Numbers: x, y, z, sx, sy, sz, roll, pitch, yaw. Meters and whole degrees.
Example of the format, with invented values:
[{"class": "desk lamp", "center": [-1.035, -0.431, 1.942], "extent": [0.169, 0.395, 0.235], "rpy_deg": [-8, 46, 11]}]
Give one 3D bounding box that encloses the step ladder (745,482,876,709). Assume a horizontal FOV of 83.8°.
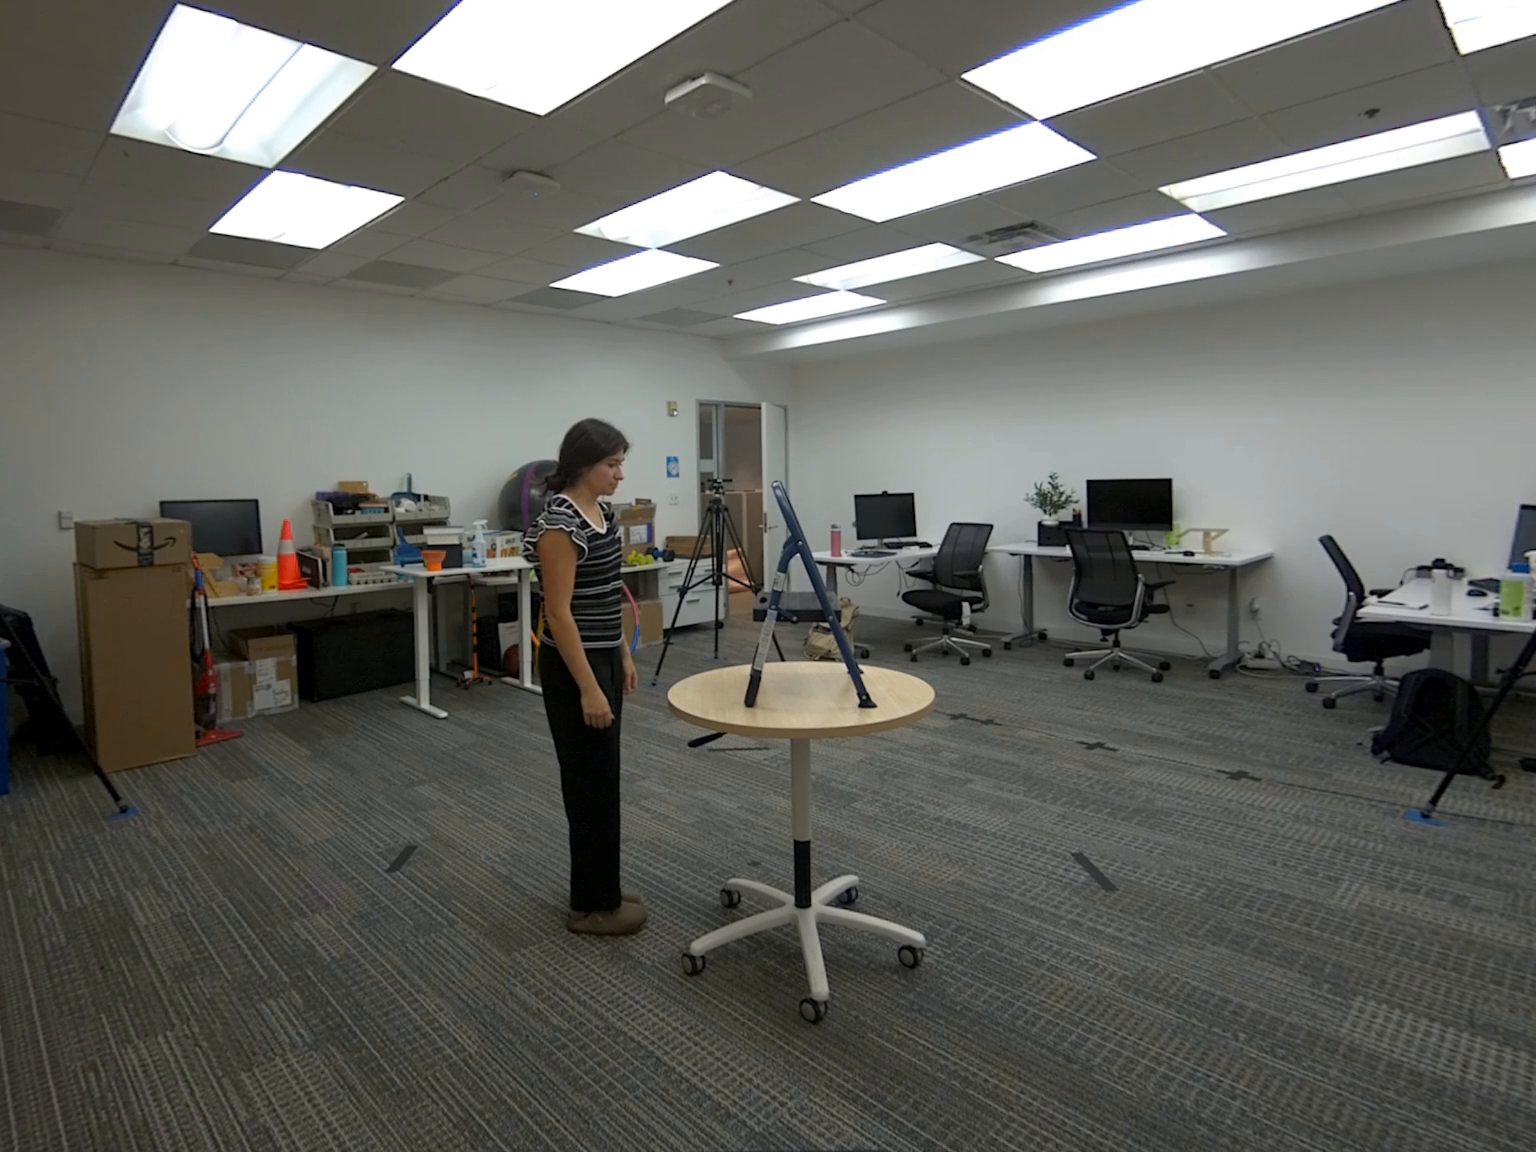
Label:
[{"class": "step ladder", "center": [0.113, 0.037, 2.473], "extent": [0.350, 0.606, 0.430], "rpy_deg": [-2, 1, 2]}]
